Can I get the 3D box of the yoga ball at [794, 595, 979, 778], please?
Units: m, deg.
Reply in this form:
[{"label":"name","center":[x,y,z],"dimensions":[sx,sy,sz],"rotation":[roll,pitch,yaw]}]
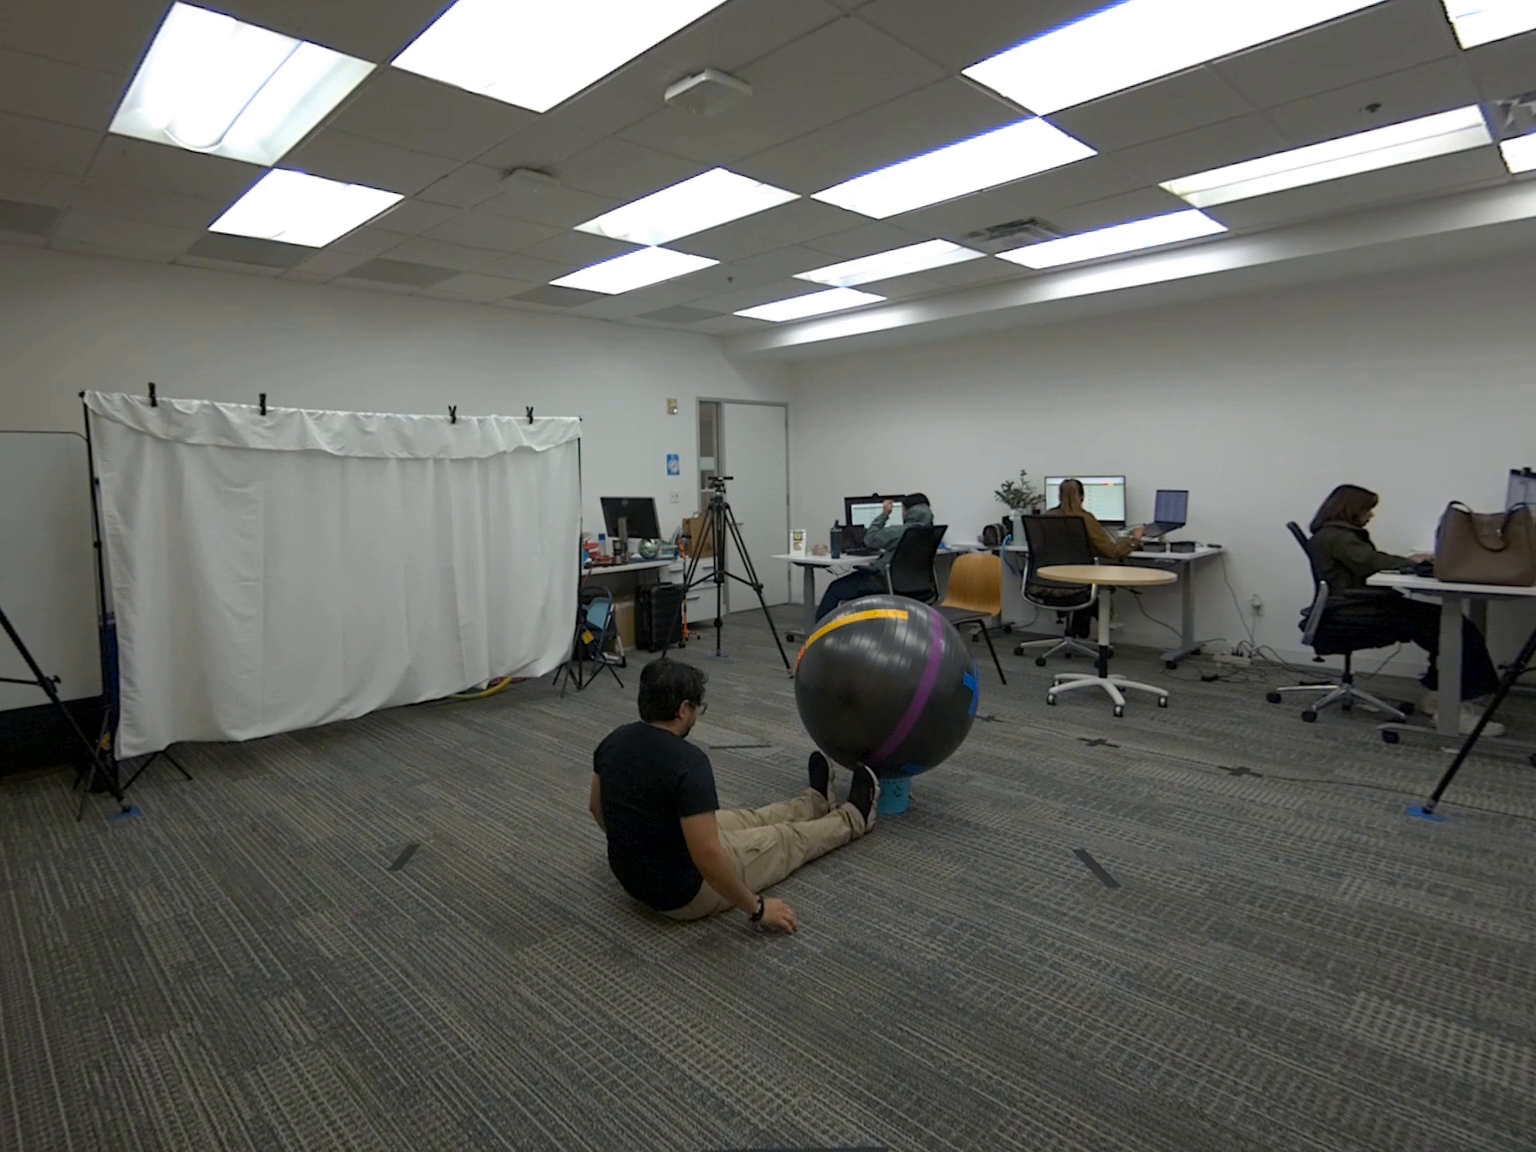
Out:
[{"label":"yoga ball","center":[0.490,0.463,3.587],"dimensions":[0.757,0.755,0.762],"rotation":[-1,5,-2]}]
